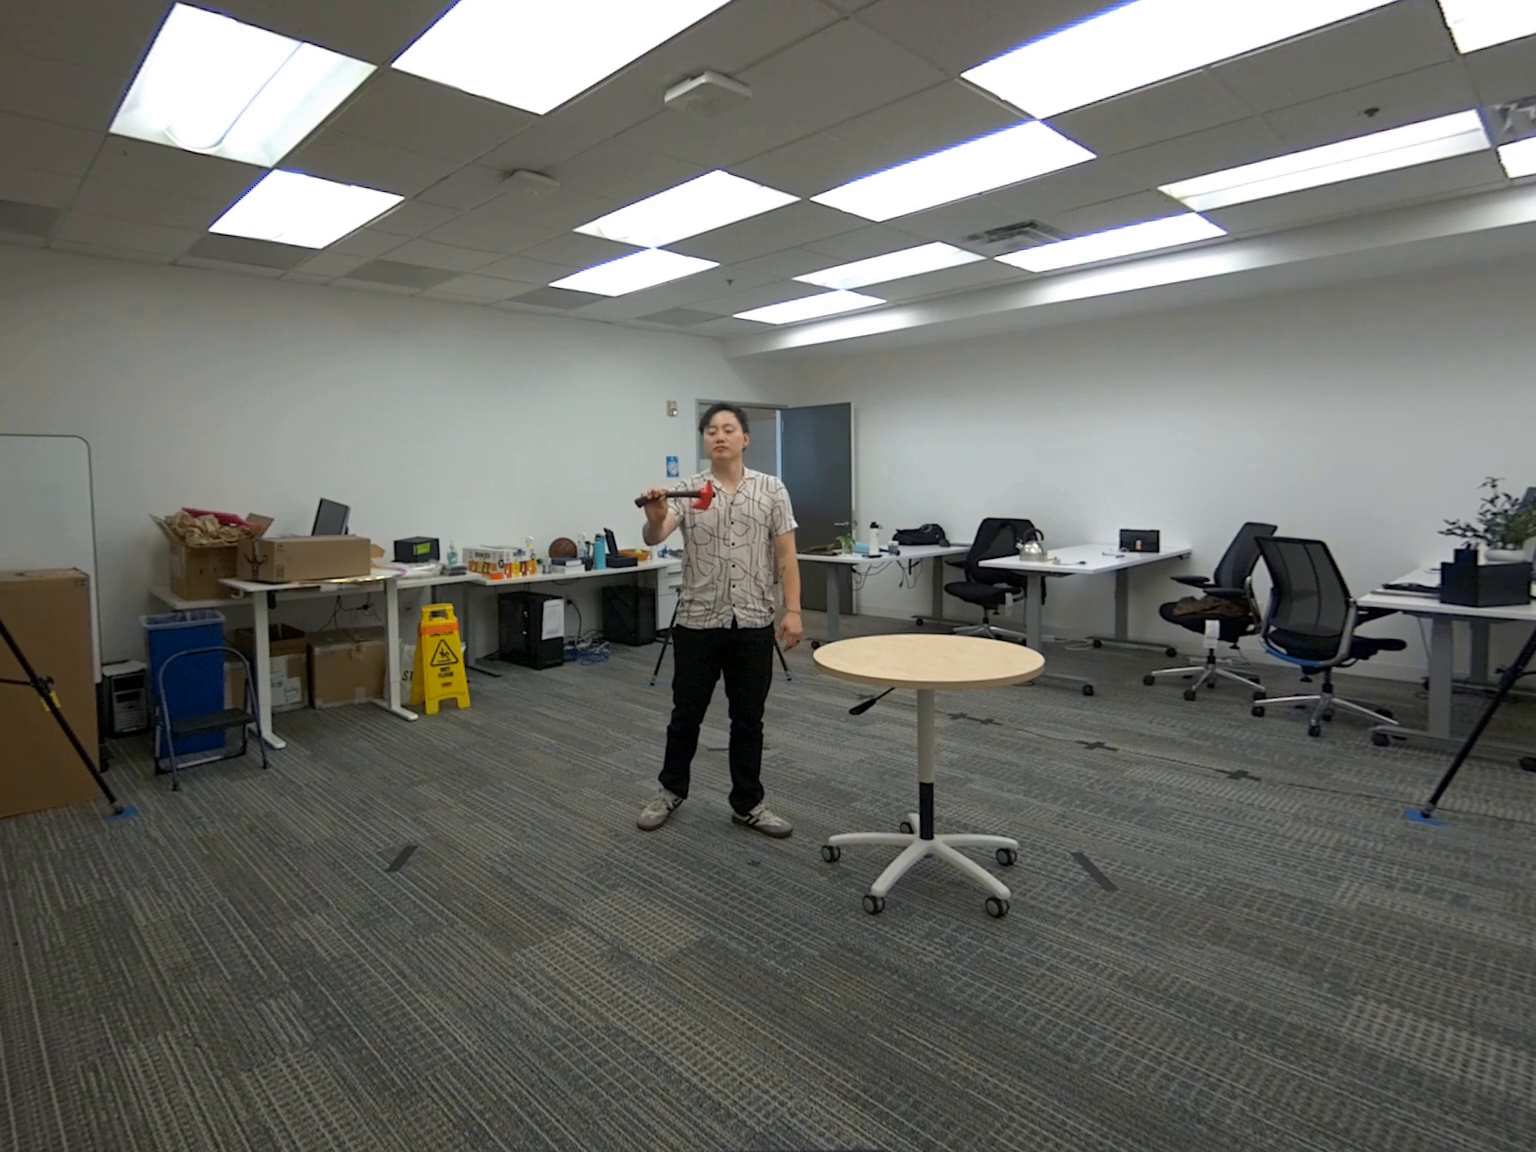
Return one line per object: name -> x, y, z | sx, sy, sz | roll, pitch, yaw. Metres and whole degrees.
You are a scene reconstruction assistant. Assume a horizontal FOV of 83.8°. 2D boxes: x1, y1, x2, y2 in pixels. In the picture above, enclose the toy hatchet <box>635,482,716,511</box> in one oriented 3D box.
toy hatchet -> -0.326, -0.251, 2.913 | 0.271, 0.126, 0.030 | -13, 43, 4
